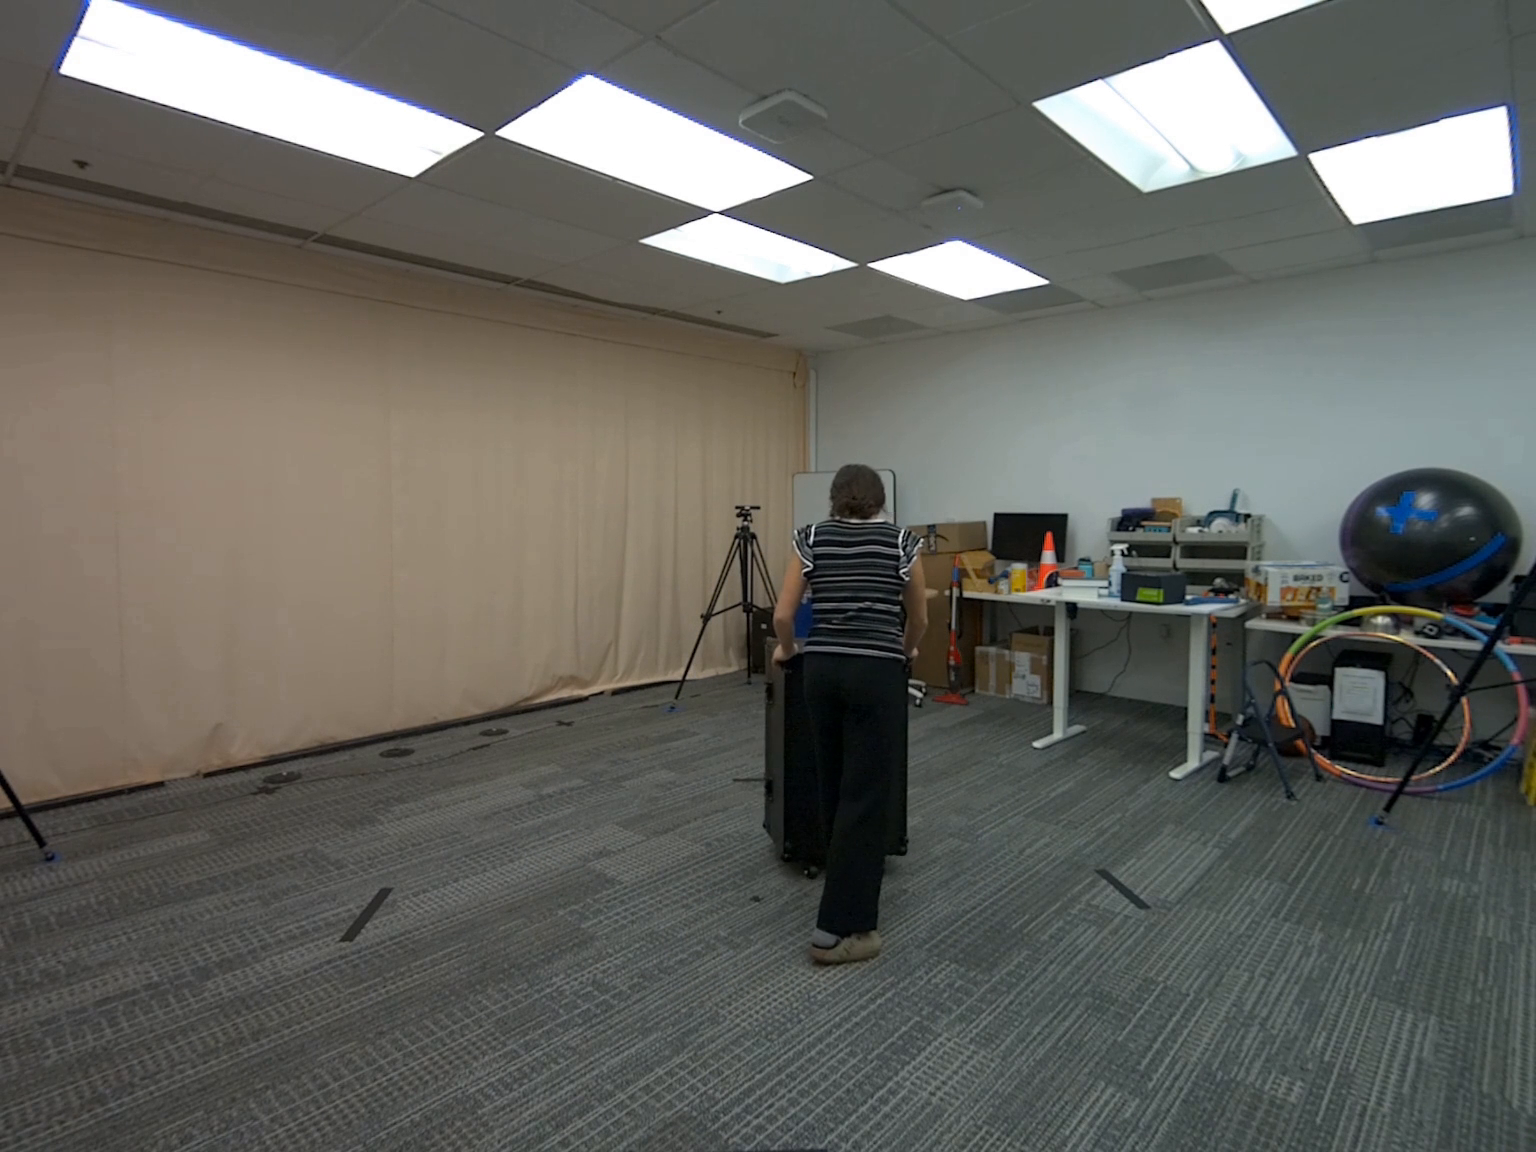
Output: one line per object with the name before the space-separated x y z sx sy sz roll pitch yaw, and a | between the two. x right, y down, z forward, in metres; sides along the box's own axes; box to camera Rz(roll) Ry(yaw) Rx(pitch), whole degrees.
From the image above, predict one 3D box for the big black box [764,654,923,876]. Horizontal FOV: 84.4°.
big black box | 0.266 0.690 3.293 0.517 0.859 0.401 0 3 -9
